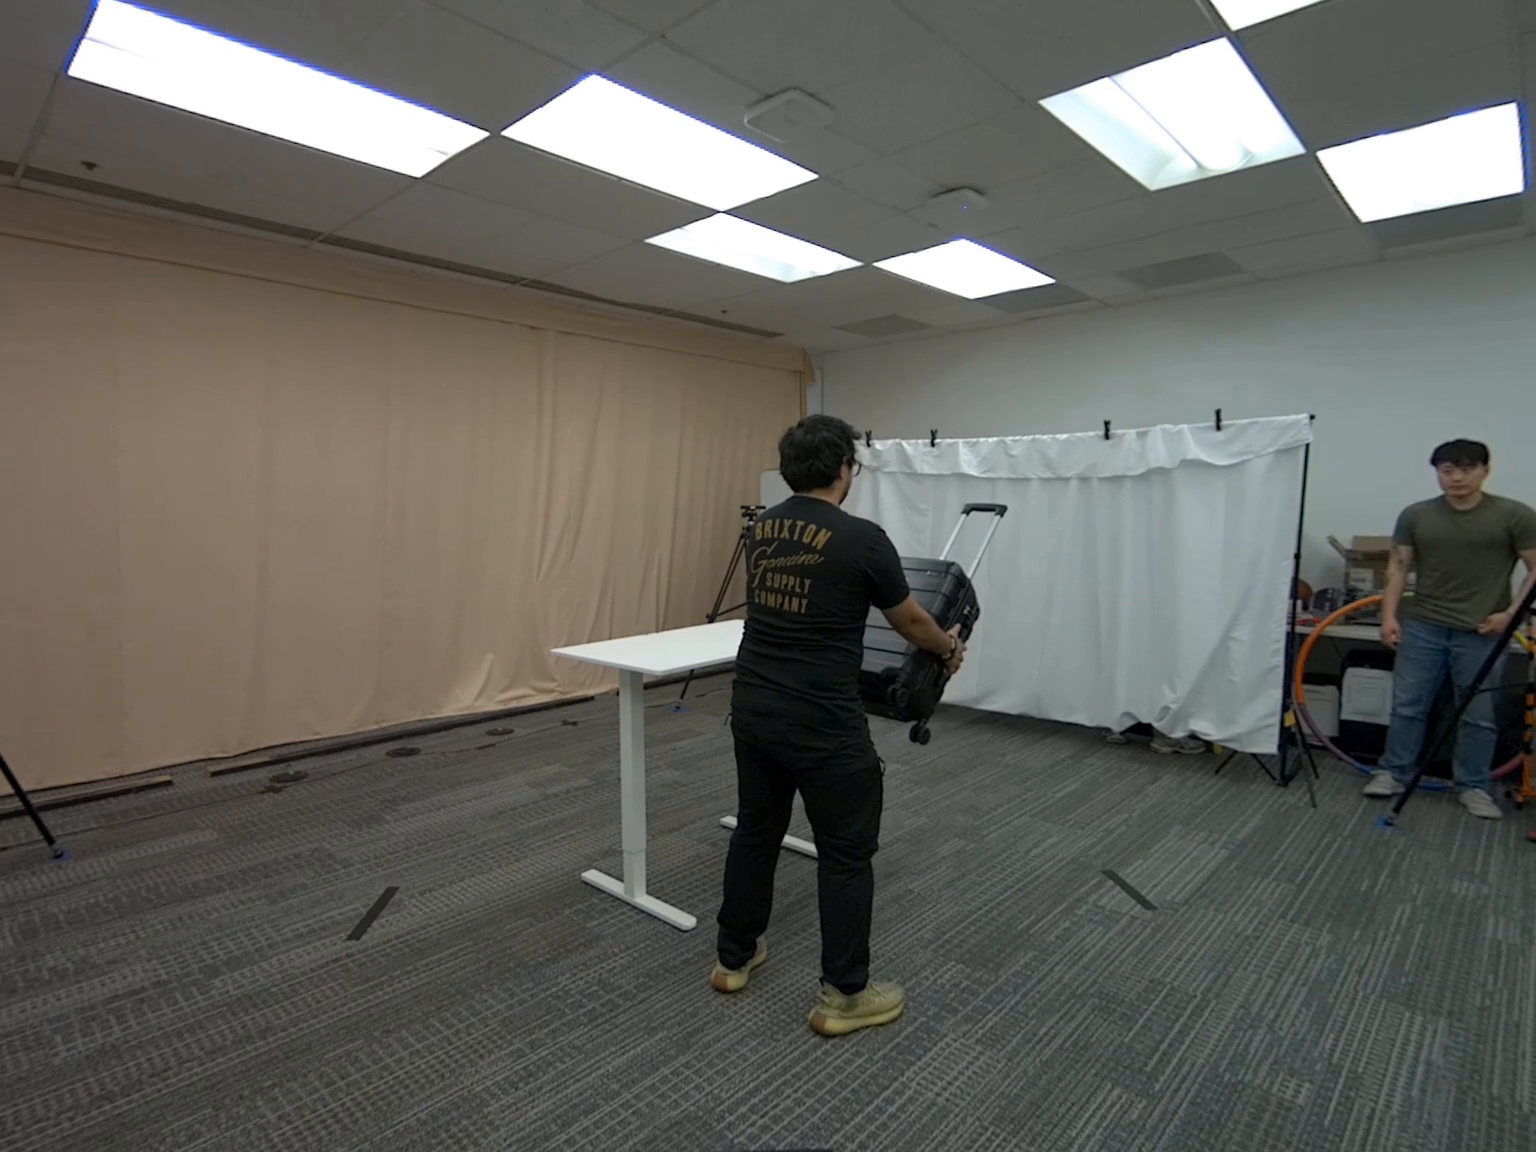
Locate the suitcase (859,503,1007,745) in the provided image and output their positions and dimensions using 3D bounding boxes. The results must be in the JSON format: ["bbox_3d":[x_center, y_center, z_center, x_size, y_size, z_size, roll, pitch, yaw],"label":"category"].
[{"bbox_3d":[0.525,0.047,2.771,0.397,0.978,0.249,5,-36,42],"label":"suitcase"}]
